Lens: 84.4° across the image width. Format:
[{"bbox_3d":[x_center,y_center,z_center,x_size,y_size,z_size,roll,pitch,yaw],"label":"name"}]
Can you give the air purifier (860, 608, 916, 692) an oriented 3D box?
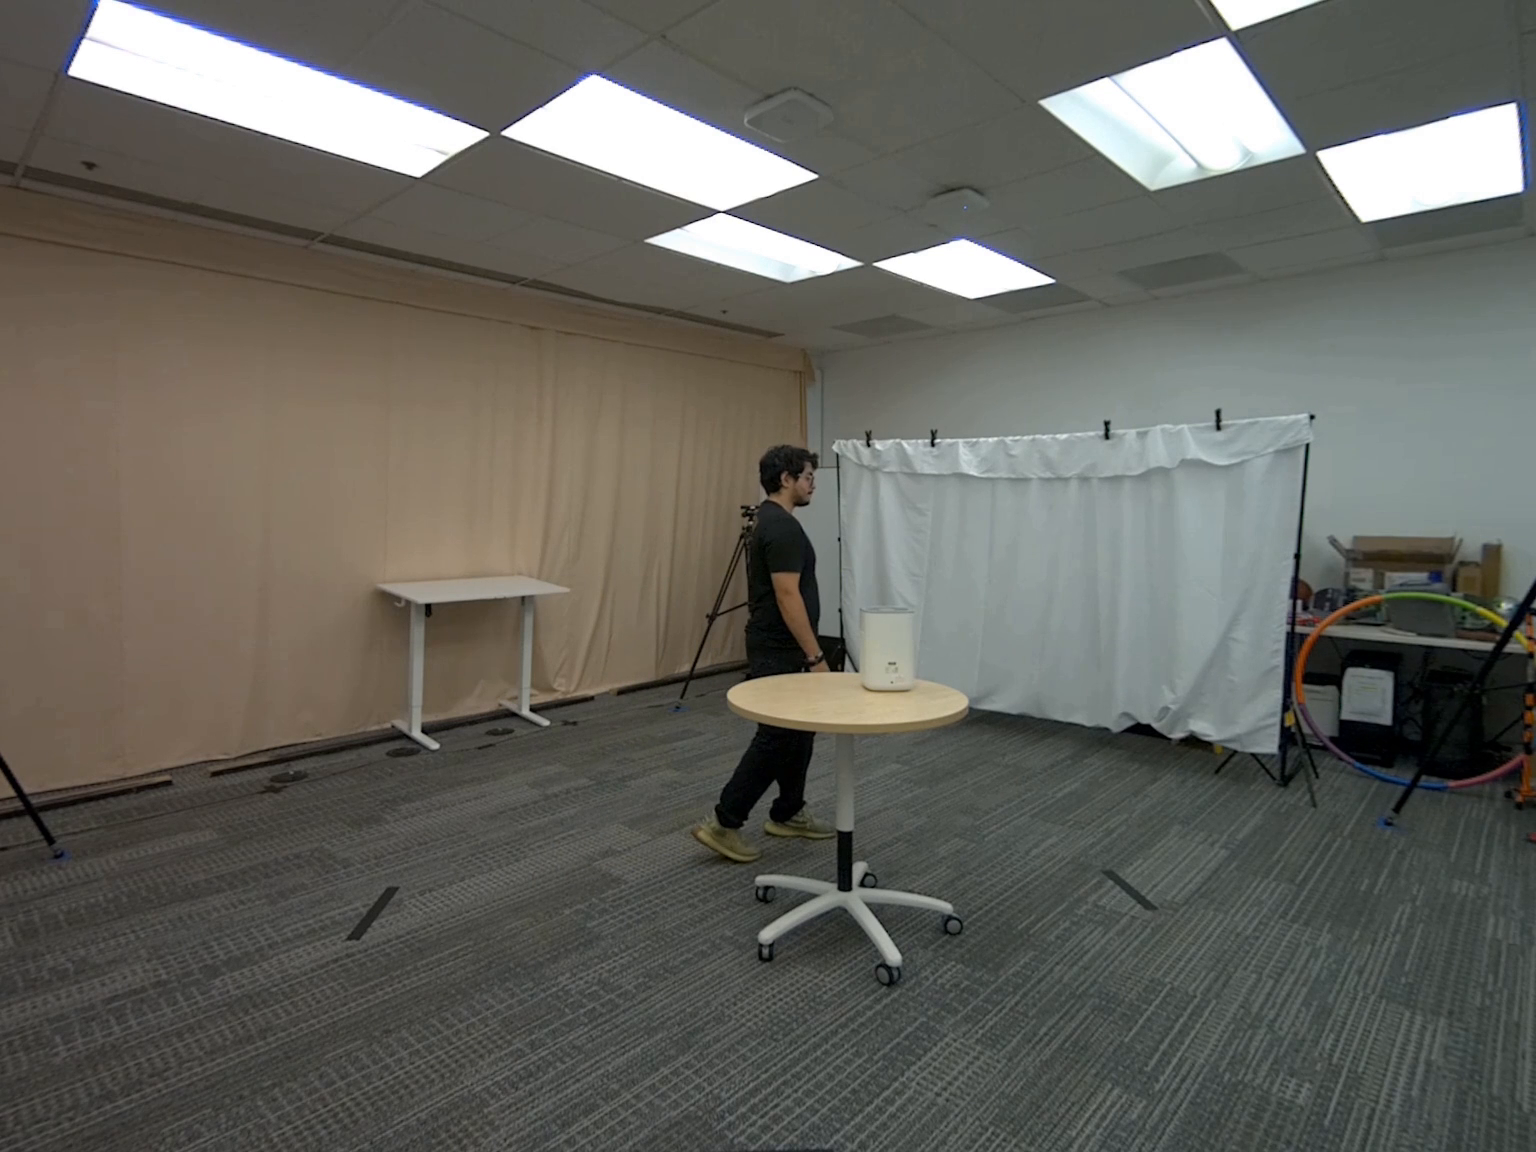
[{"bbox_3d":[0.400,0.239,2.820,0.171,0.265,0.172,-2,2,0],"label":"air purifier"}]
